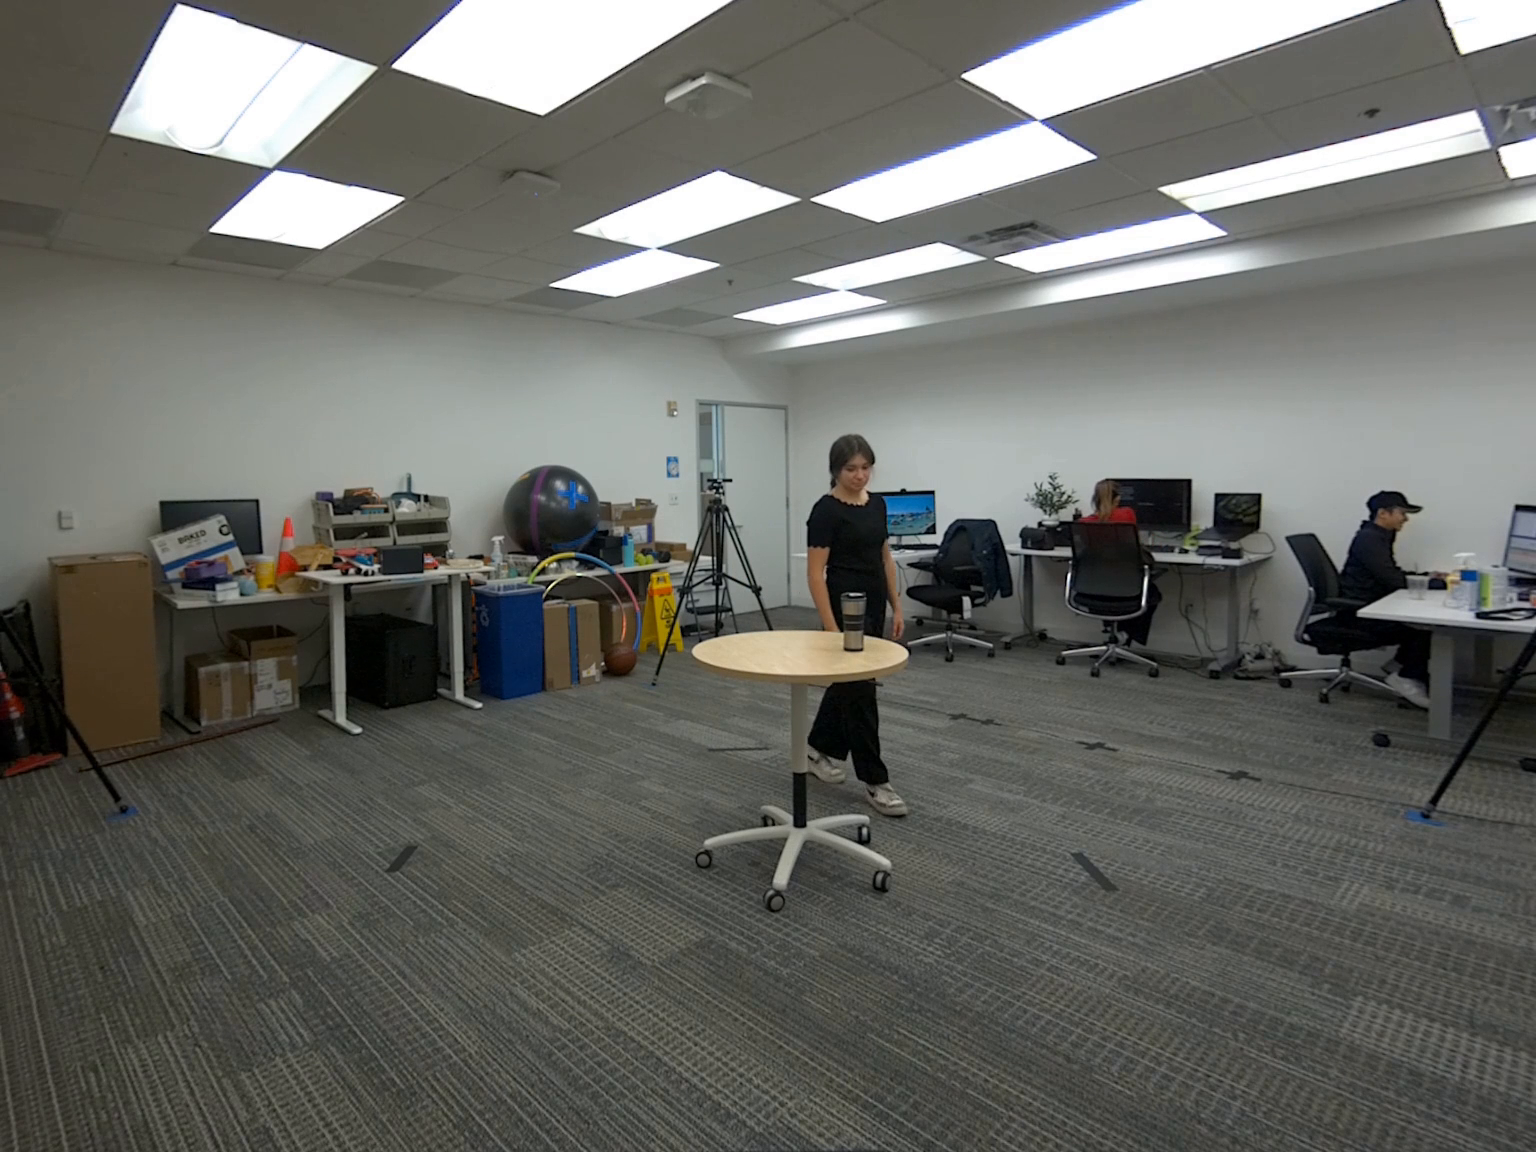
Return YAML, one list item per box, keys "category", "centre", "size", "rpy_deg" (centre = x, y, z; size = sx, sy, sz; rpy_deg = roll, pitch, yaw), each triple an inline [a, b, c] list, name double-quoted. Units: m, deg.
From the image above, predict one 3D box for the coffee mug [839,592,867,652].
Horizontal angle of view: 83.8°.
- category: "coffee mug"
  centre: [0.315, 0.164, 3.049]
  size: [0.119, 0.203, 0.090]
  rpy_deg: [-8, 1, -41]
